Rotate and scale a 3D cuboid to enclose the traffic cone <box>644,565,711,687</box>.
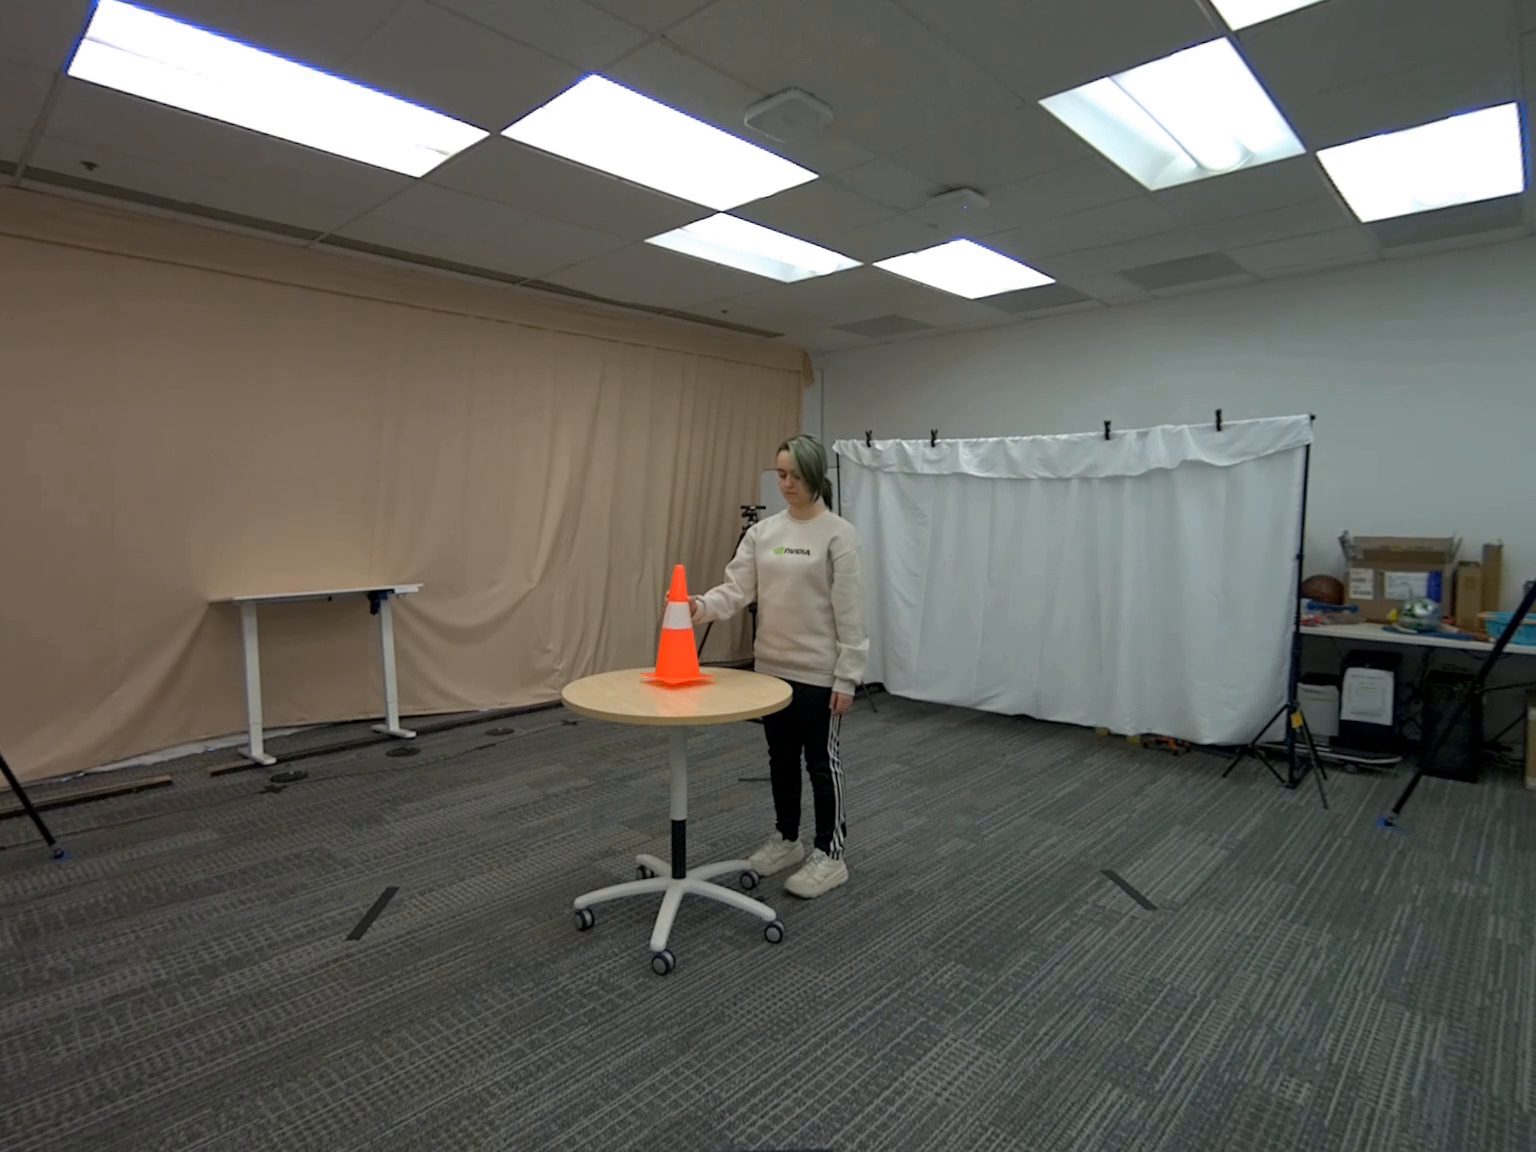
[{"bbox_3d":[-0.322,0.157,2.902,0.211,0.384,0.197,-2,0,34],"label":"traffic cone"}]
